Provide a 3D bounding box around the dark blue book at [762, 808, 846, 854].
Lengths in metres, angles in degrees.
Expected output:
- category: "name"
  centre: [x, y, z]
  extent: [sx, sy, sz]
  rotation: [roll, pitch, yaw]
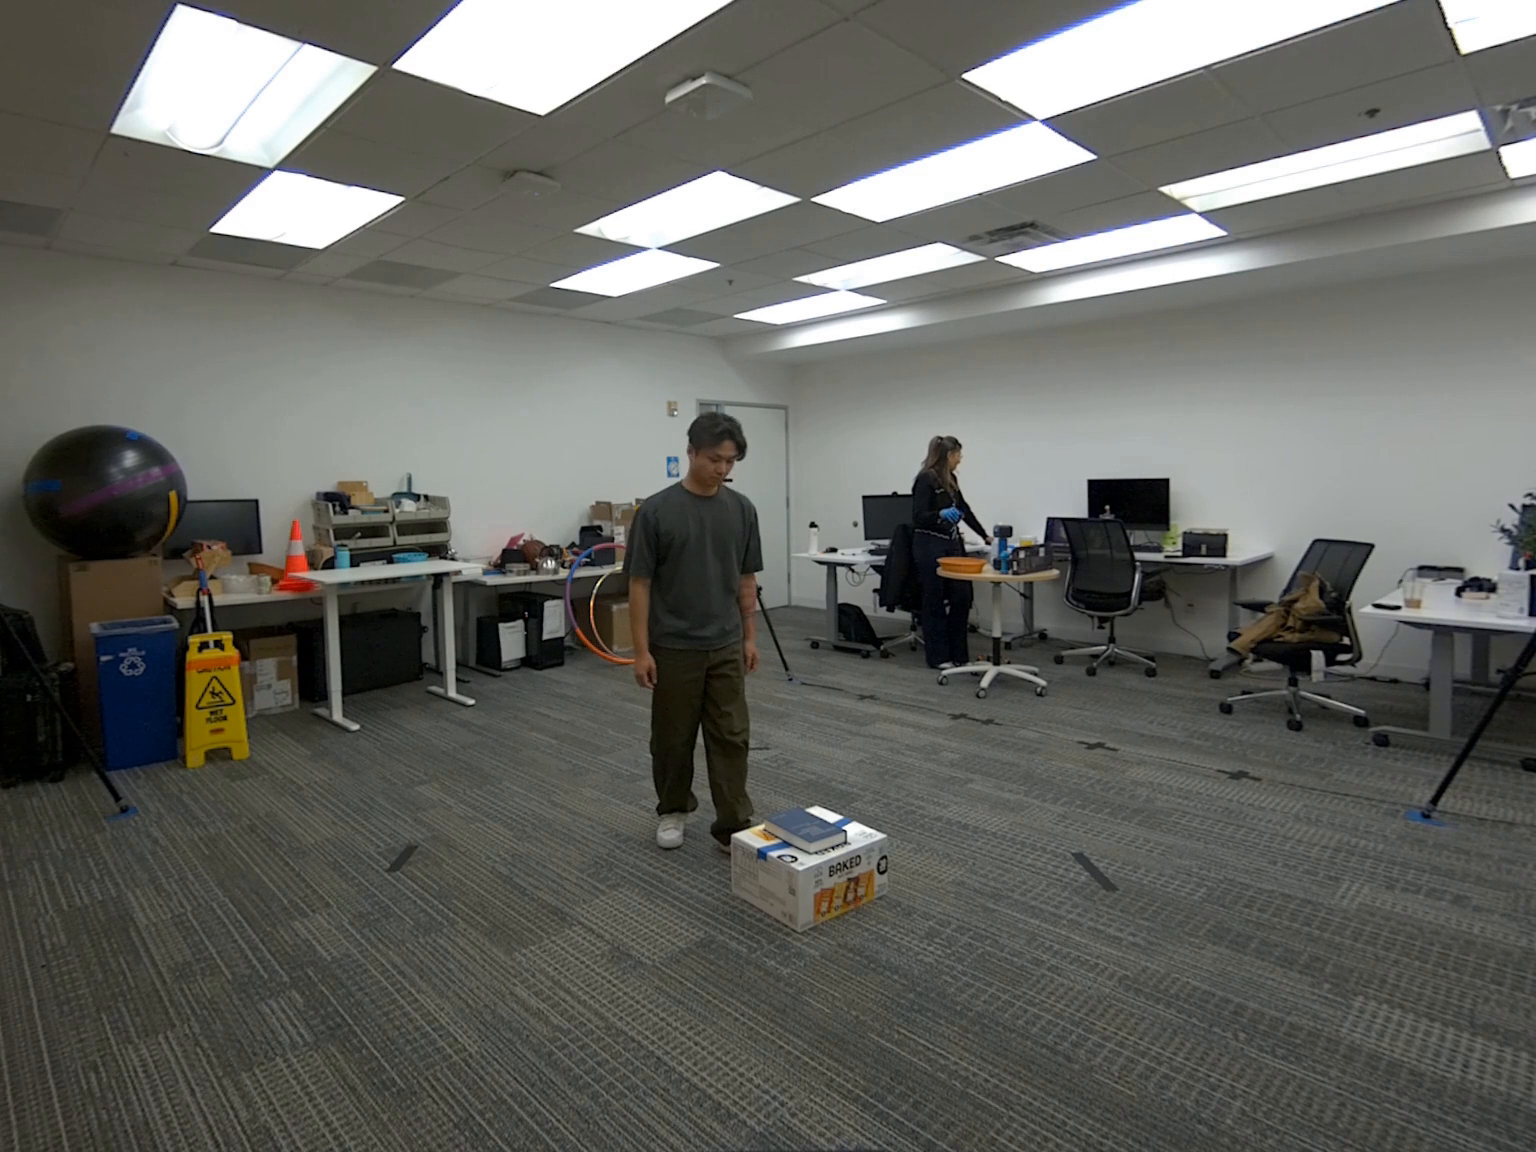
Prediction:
- category: "dark blue book"
  centre: [0.135, 0.855, 2.861]
  extent: [0.159, 0.045, 0.253]
  rotation: [-6, 8, -37]
